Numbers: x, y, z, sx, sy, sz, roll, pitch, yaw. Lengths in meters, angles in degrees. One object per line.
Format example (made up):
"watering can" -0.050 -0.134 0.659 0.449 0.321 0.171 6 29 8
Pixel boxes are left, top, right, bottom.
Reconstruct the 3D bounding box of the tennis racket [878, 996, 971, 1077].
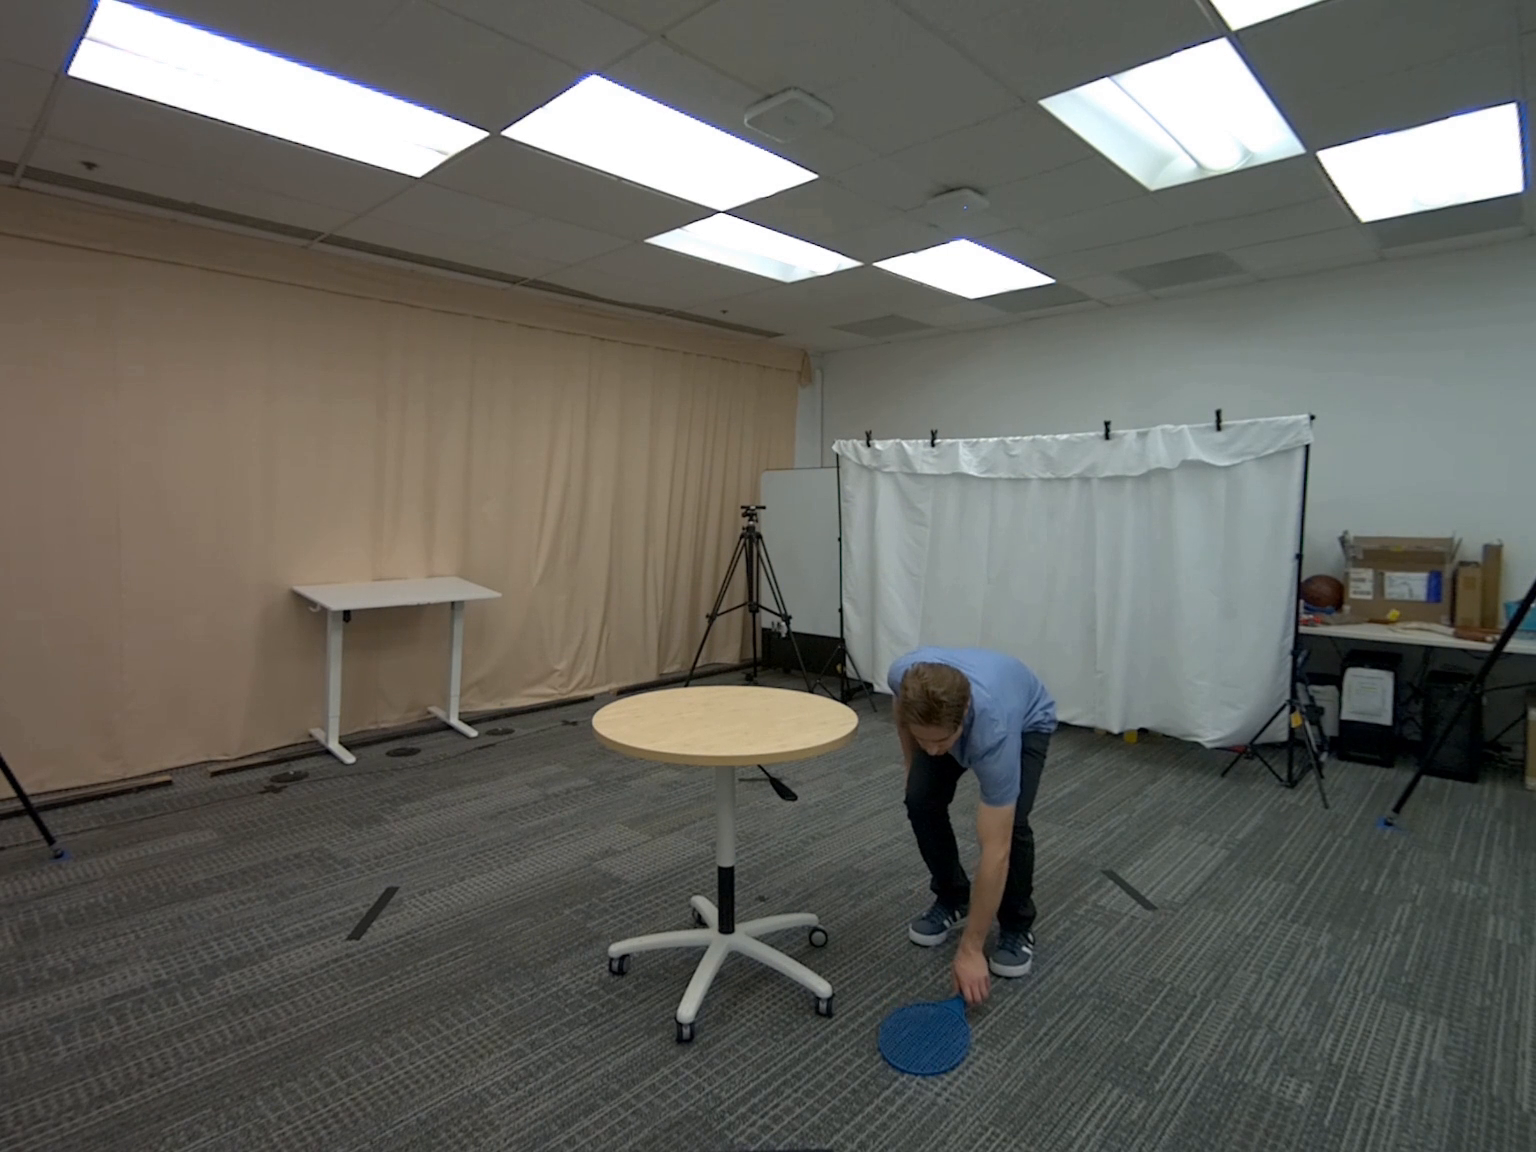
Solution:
"tennis racket" 0.468 1.180 2.212 0.221 0.031 0.421 9 16 43
